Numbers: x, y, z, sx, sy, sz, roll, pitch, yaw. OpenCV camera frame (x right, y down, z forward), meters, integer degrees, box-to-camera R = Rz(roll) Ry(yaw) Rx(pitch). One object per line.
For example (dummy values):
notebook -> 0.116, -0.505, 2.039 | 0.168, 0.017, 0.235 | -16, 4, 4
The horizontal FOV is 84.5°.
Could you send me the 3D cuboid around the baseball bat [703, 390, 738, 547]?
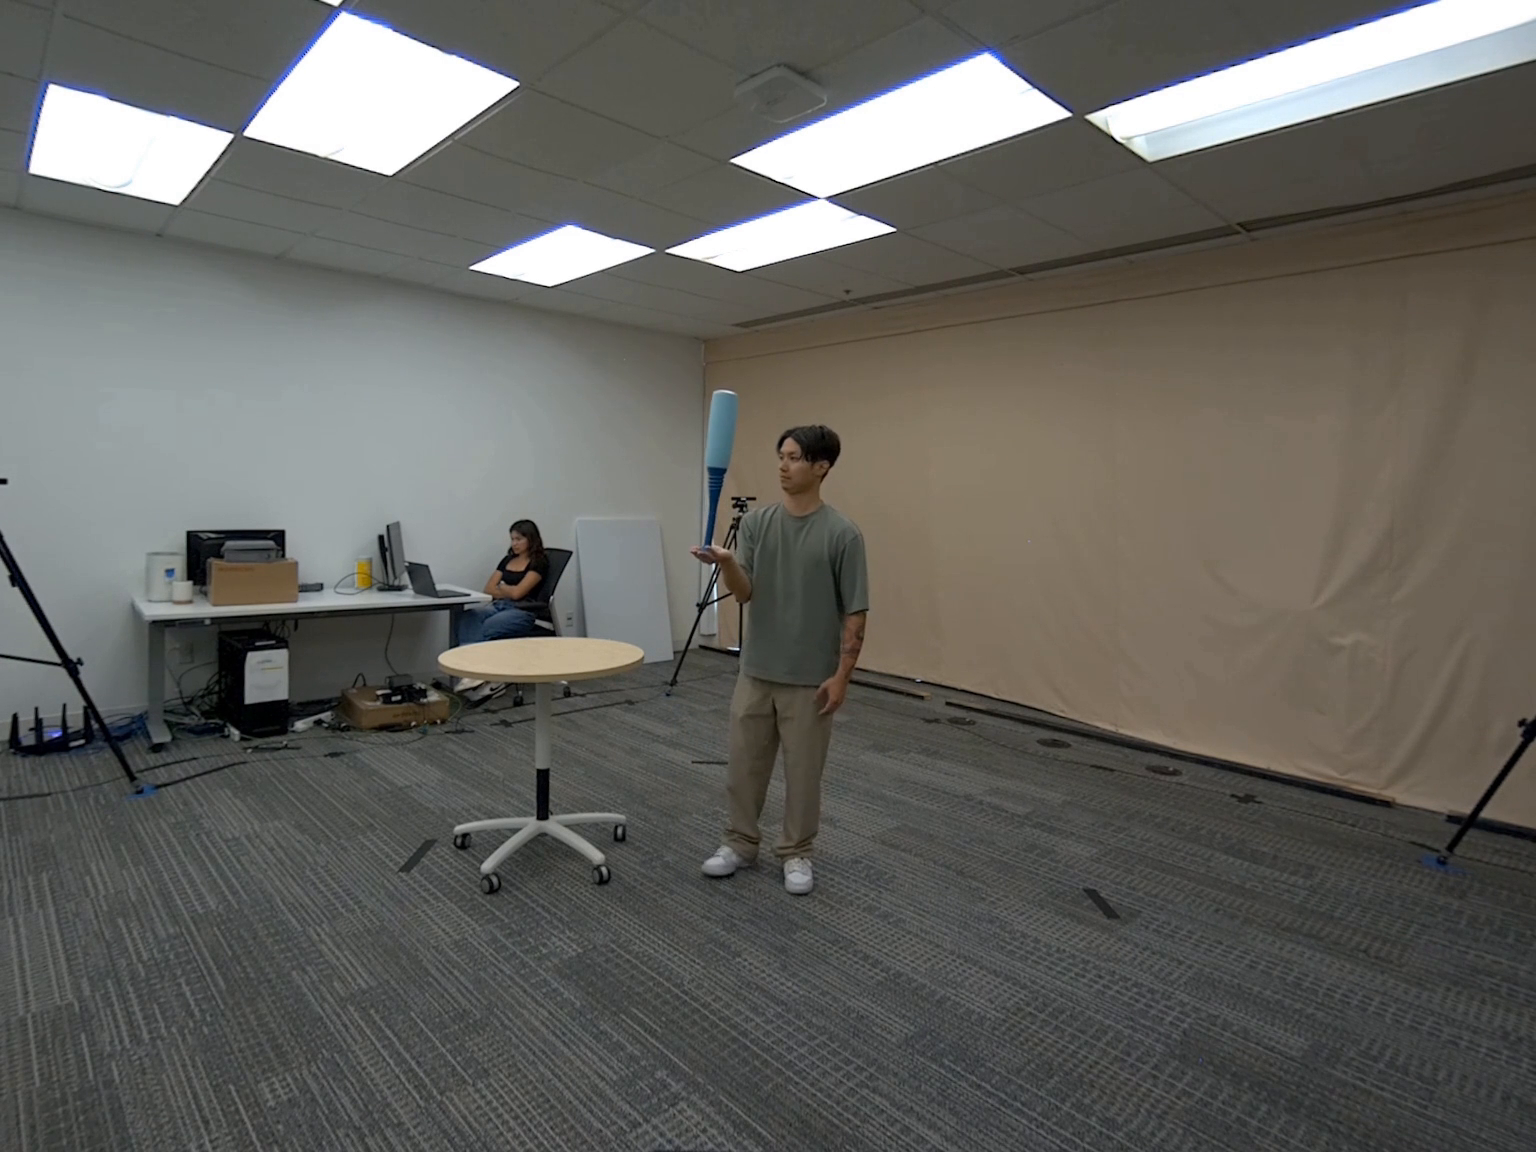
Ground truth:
baseball bat -> -0.166, -0.342, 2.770 | 0.089, 0.541, 0.089 | 6, 5, -2
